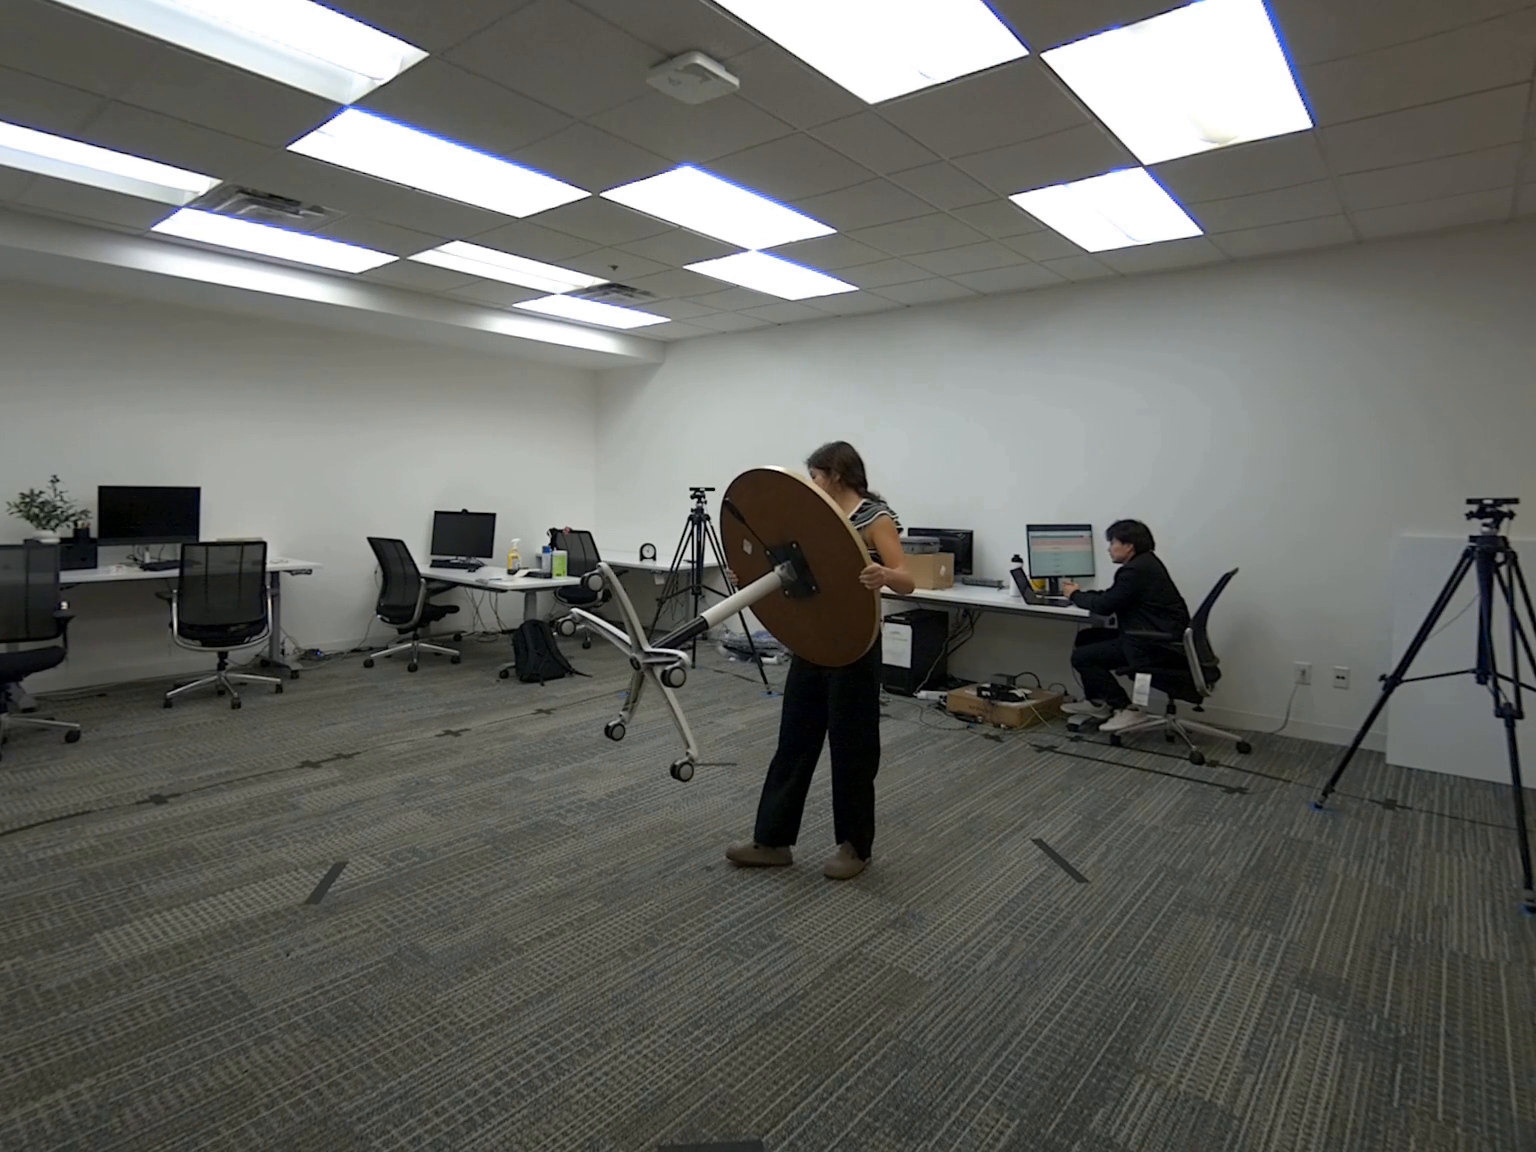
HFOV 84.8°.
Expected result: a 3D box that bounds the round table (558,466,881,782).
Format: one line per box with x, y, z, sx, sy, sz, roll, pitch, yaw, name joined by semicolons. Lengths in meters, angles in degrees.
-0.198;0.145;2.803;0.784;0.748;0.790;-31;22;-33;round table
